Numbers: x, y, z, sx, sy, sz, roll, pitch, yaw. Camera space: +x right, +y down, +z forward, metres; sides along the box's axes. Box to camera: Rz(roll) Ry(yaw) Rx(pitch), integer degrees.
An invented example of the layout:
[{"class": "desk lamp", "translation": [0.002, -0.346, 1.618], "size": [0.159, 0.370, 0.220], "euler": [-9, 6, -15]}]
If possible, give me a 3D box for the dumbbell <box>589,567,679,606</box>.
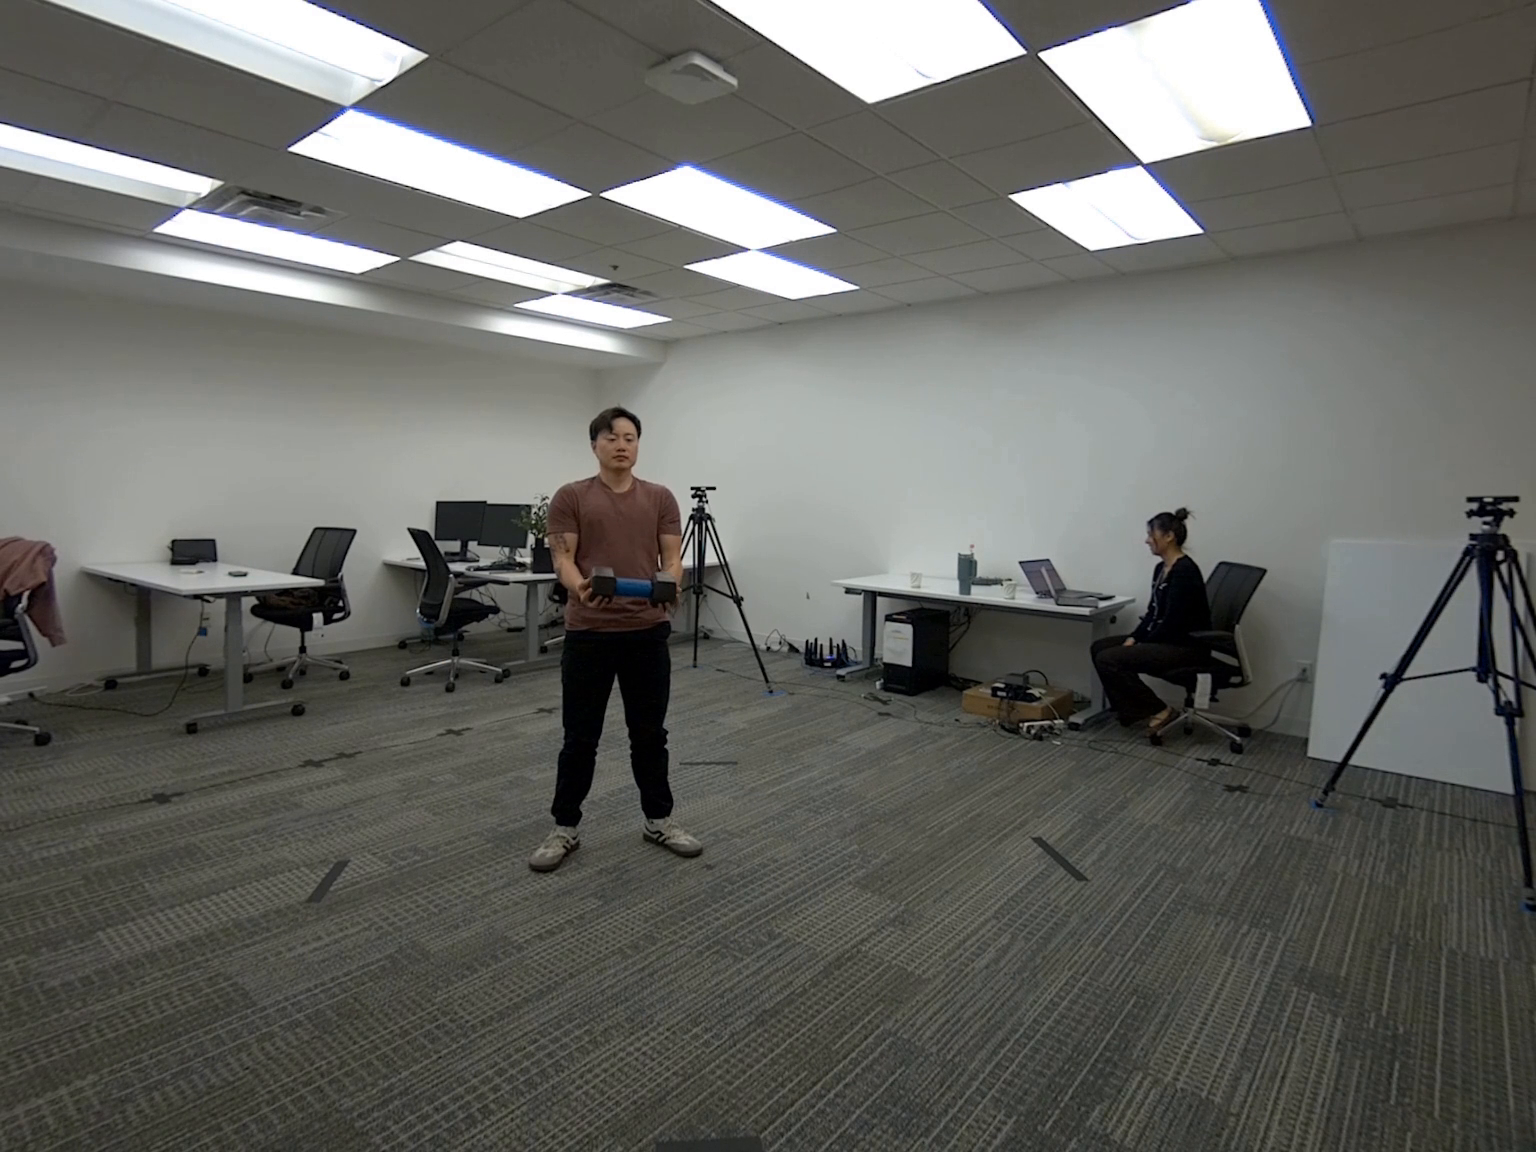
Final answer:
[{"class": "dumbbell", "translation": [-0.479, 0.032, 2.907], "size": [0.288, 0.107, 0.127], "euler": [3, 25, -18]}]
